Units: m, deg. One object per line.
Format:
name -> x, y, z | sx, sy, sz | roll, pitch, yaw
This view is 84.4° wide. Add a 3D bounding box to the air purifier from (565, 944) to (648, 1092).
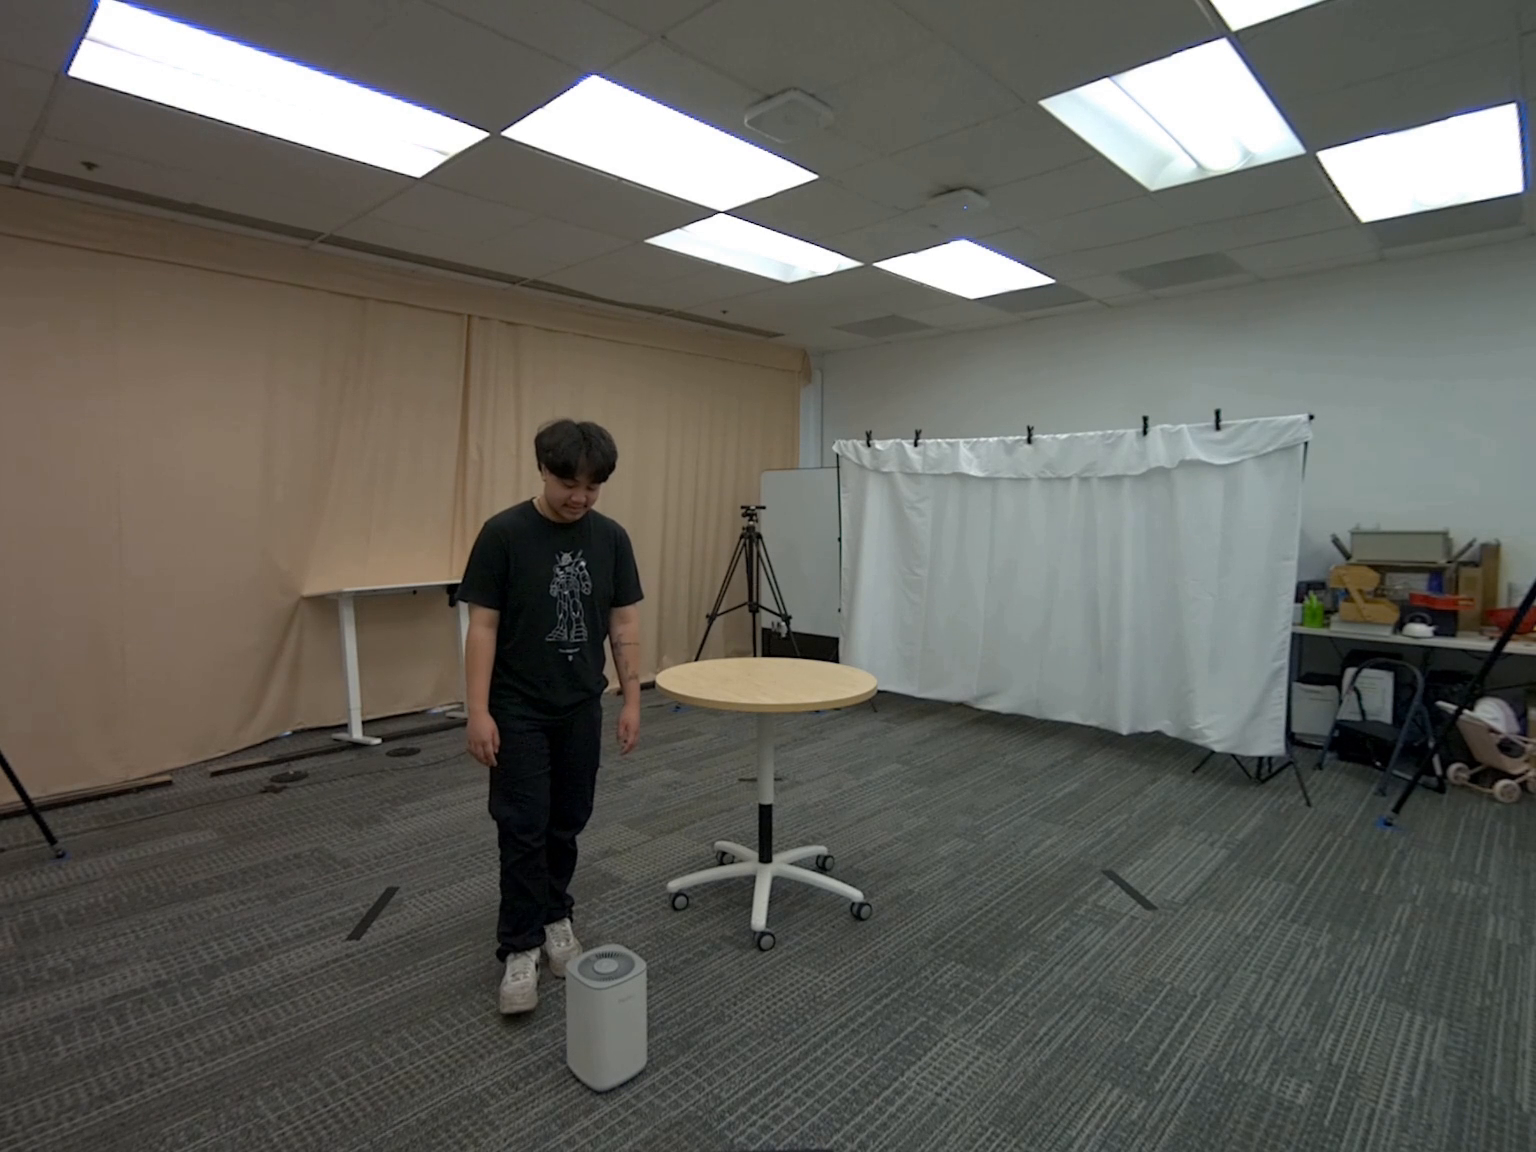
air purifier -> -0.397, 1.088, 2.074 | 0.177, 0.265, 0.166 | 3, 4, 45
